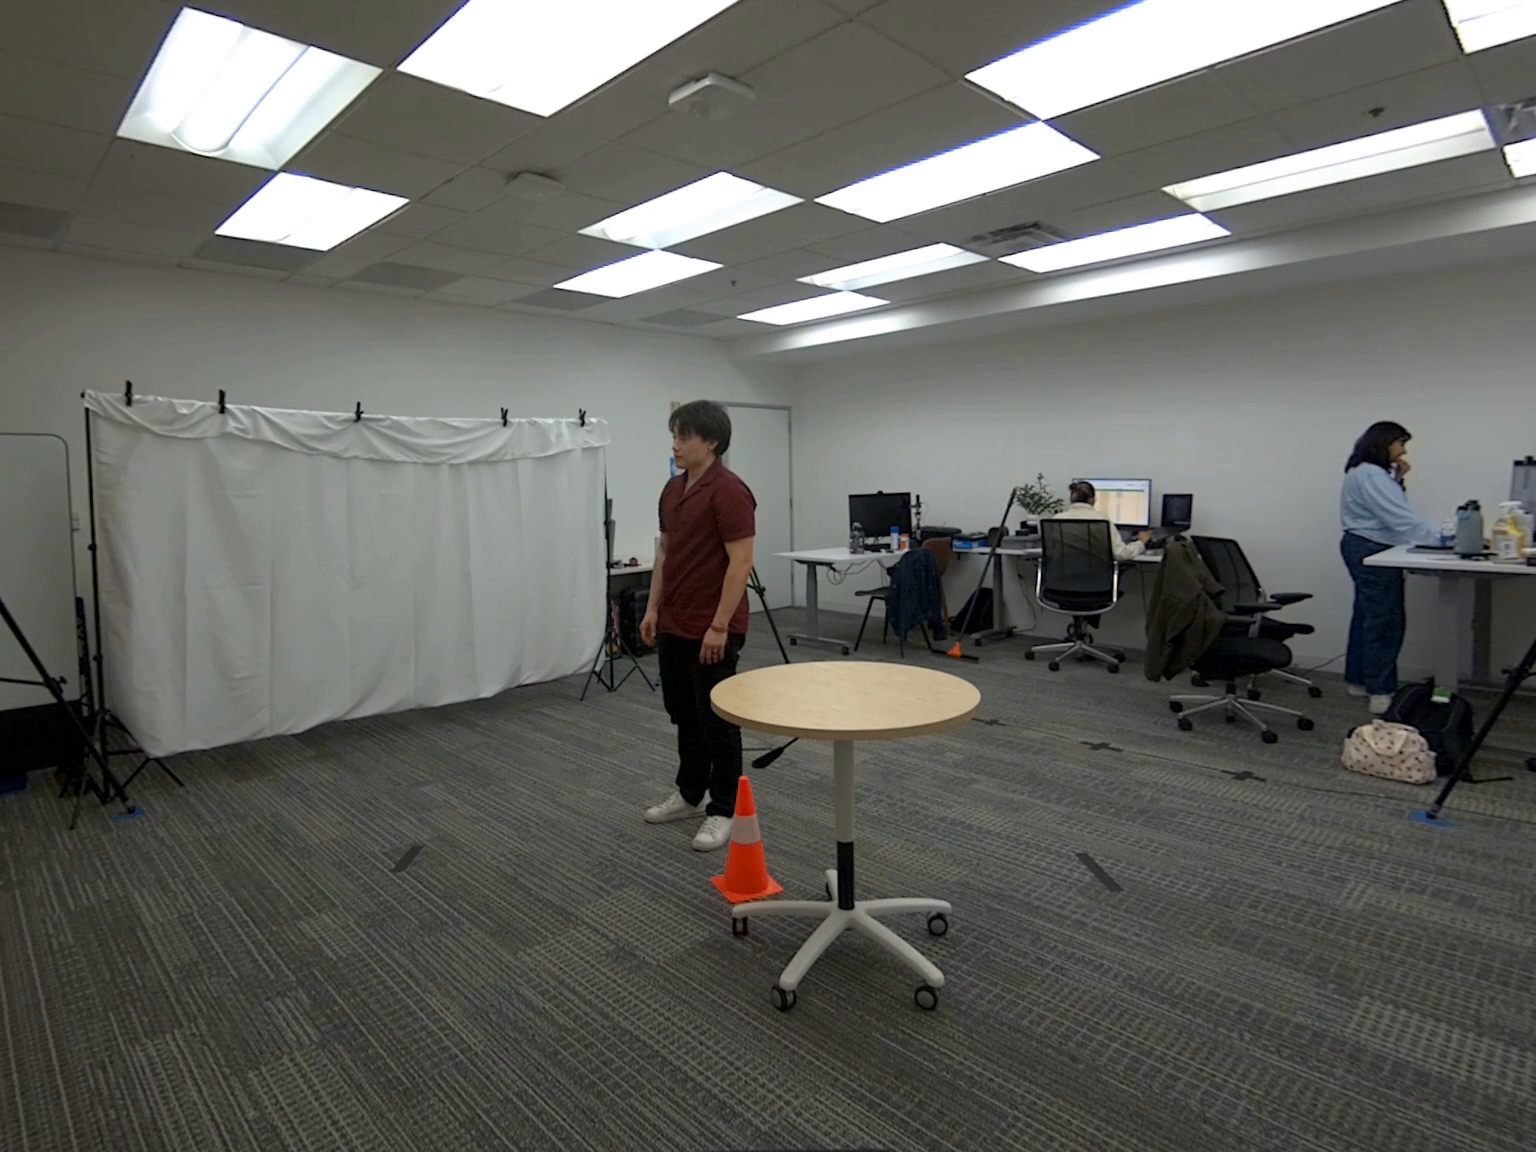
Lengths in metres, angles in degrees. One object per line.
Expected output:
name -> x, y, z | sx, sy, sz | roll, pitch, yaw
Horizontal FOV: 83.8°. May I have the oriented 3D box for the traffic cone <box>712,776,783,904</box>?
traffic cone -> -0.080, 0.885, 2.938 | 0.201, 0.382, 0.208 | -4, 5, -24
